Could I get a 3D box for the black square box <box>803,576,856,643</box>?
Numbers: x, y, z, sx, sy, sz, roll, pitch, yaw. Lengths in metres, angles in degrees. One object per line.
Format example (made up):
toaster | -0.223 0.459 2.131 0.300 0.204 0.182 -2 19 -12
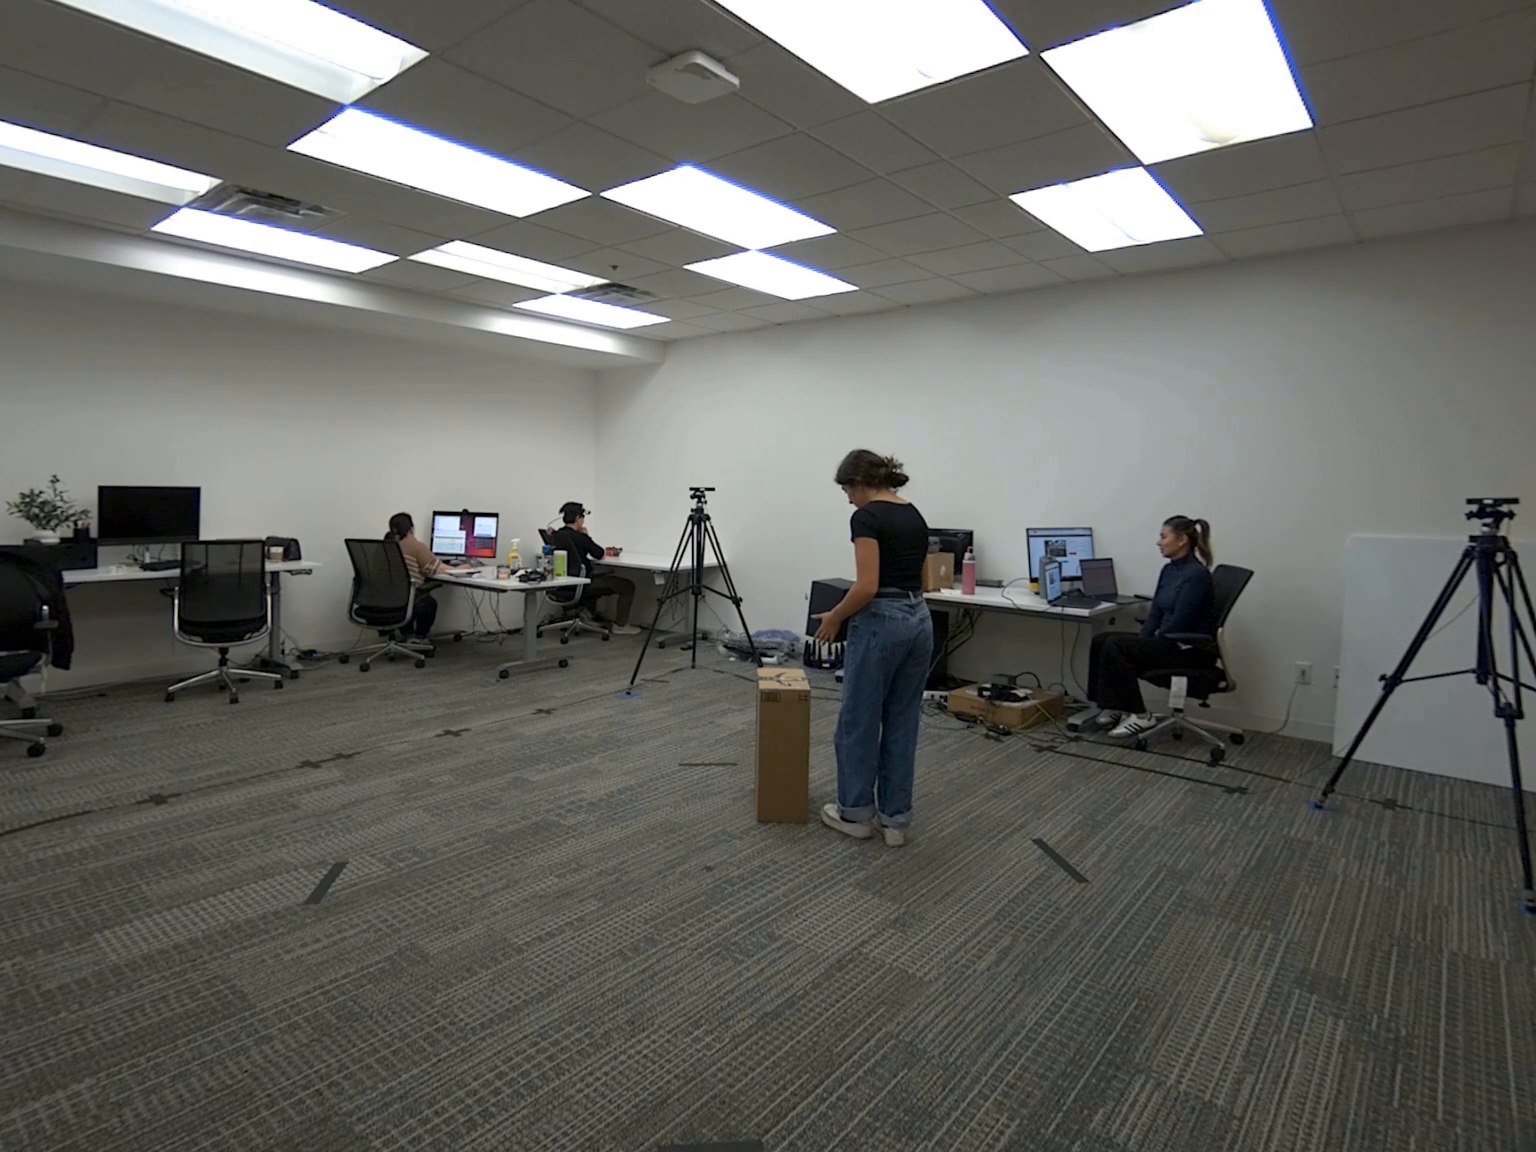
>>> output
black square box | 0.285 0.132 3.527 0.161 0.226 0.211 12 10 38
